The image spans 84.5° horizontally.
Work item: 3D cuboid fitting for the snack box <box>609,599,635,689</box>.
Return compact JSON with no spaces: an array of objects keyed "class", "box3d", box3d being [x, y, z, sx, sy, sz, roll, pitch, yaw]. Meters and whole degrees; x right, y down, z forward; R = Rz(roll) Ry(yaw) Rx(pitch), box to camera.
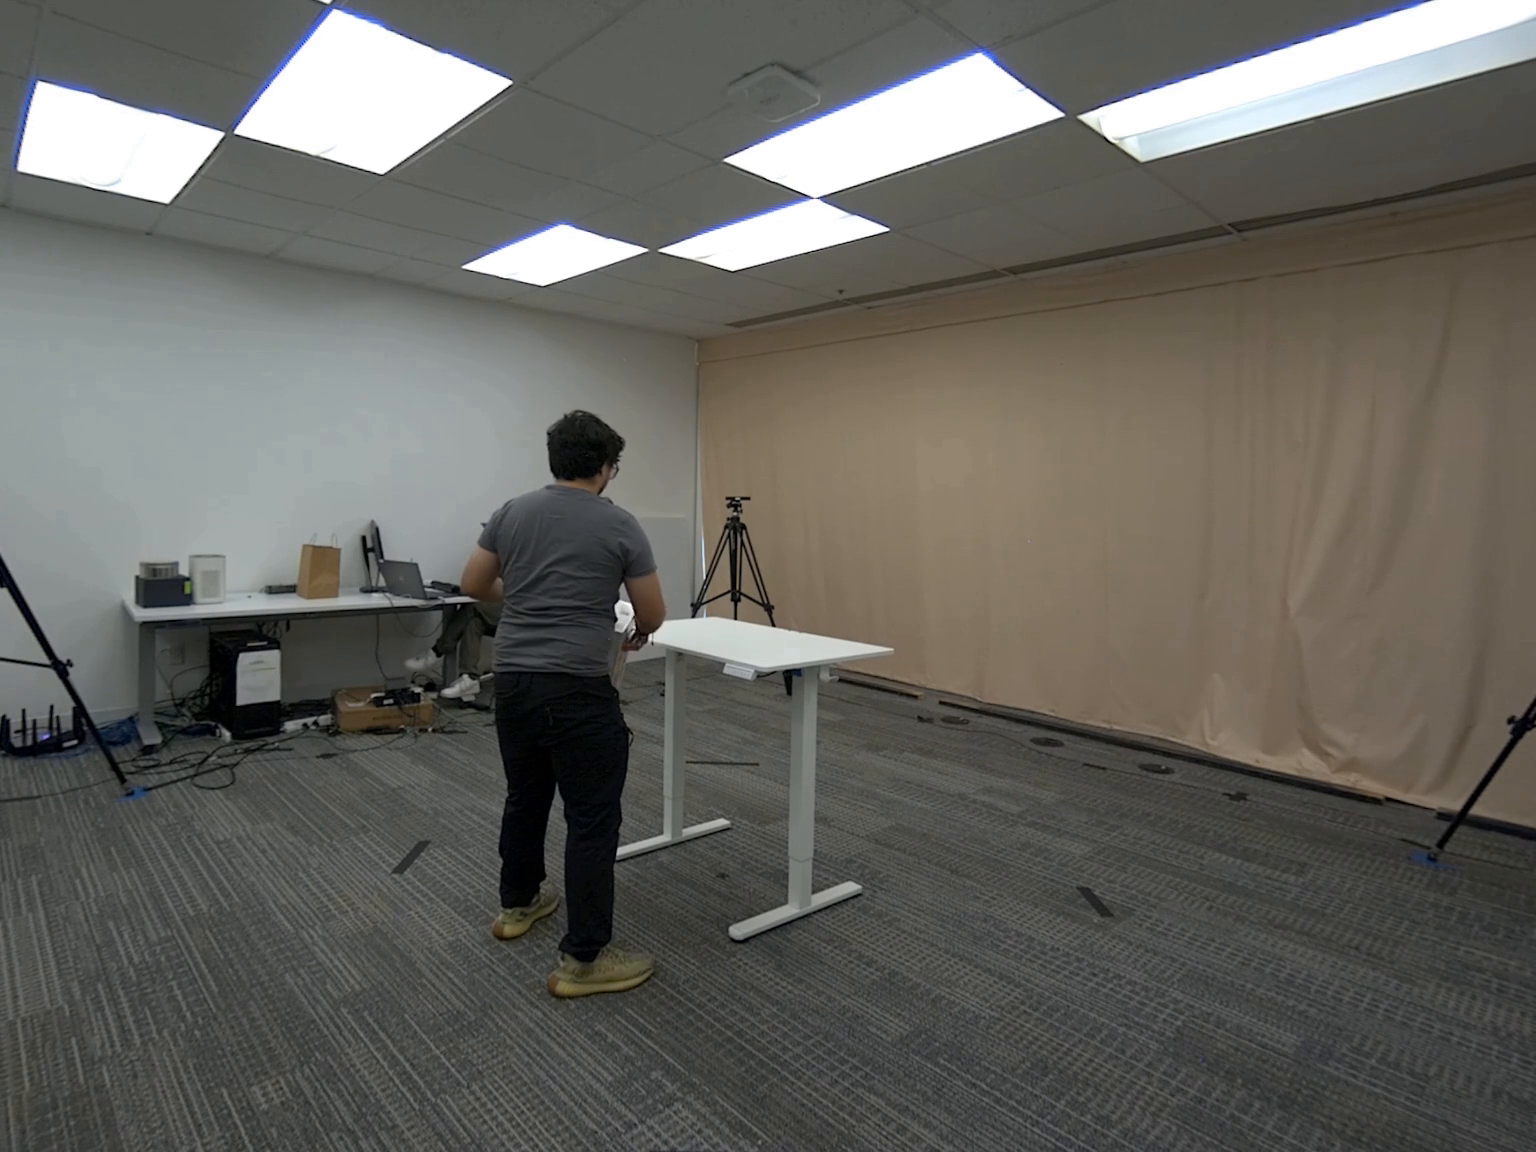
[{"class":"snack box","box3d":[-0.657,0.271,2.822,0.341,0.401,0.207,16,23,3]}]
